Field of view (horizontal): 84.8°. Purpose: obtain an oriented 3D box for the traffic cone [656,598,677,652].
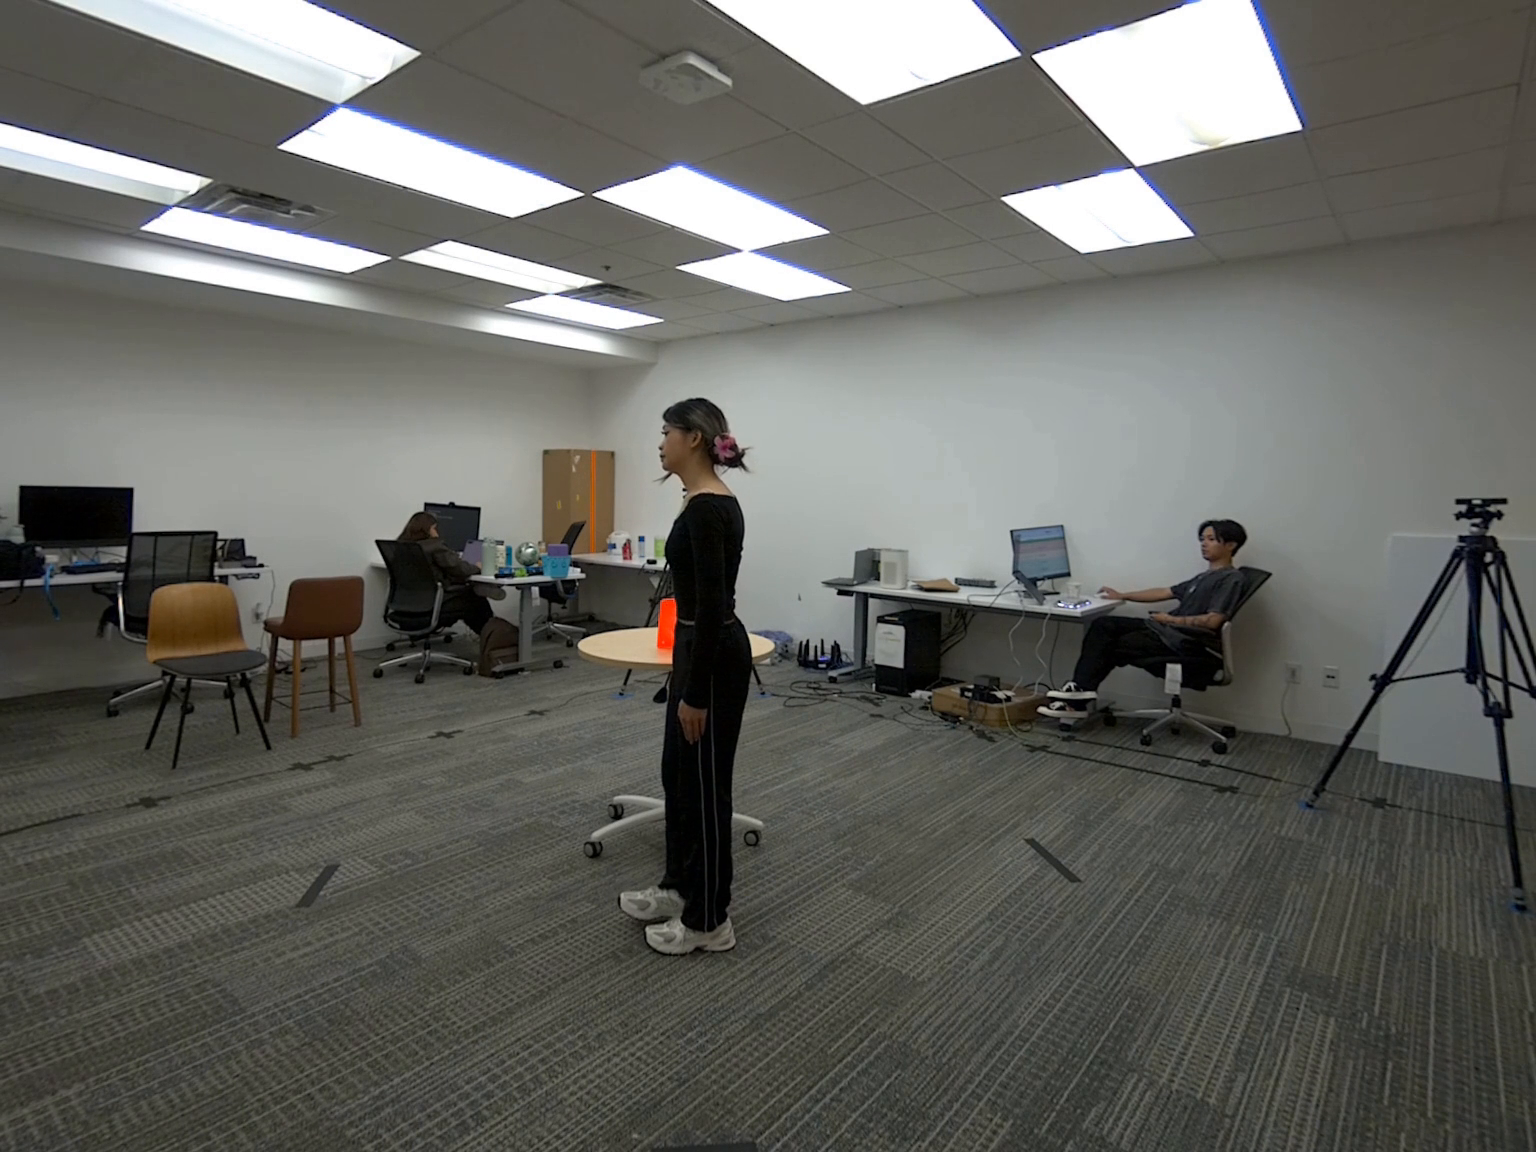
[{"bbox_3d":[-0.245,0.234,3.068,0.200,0.200,0.397,-4,18,-25],"label":"traffic cone"}]
